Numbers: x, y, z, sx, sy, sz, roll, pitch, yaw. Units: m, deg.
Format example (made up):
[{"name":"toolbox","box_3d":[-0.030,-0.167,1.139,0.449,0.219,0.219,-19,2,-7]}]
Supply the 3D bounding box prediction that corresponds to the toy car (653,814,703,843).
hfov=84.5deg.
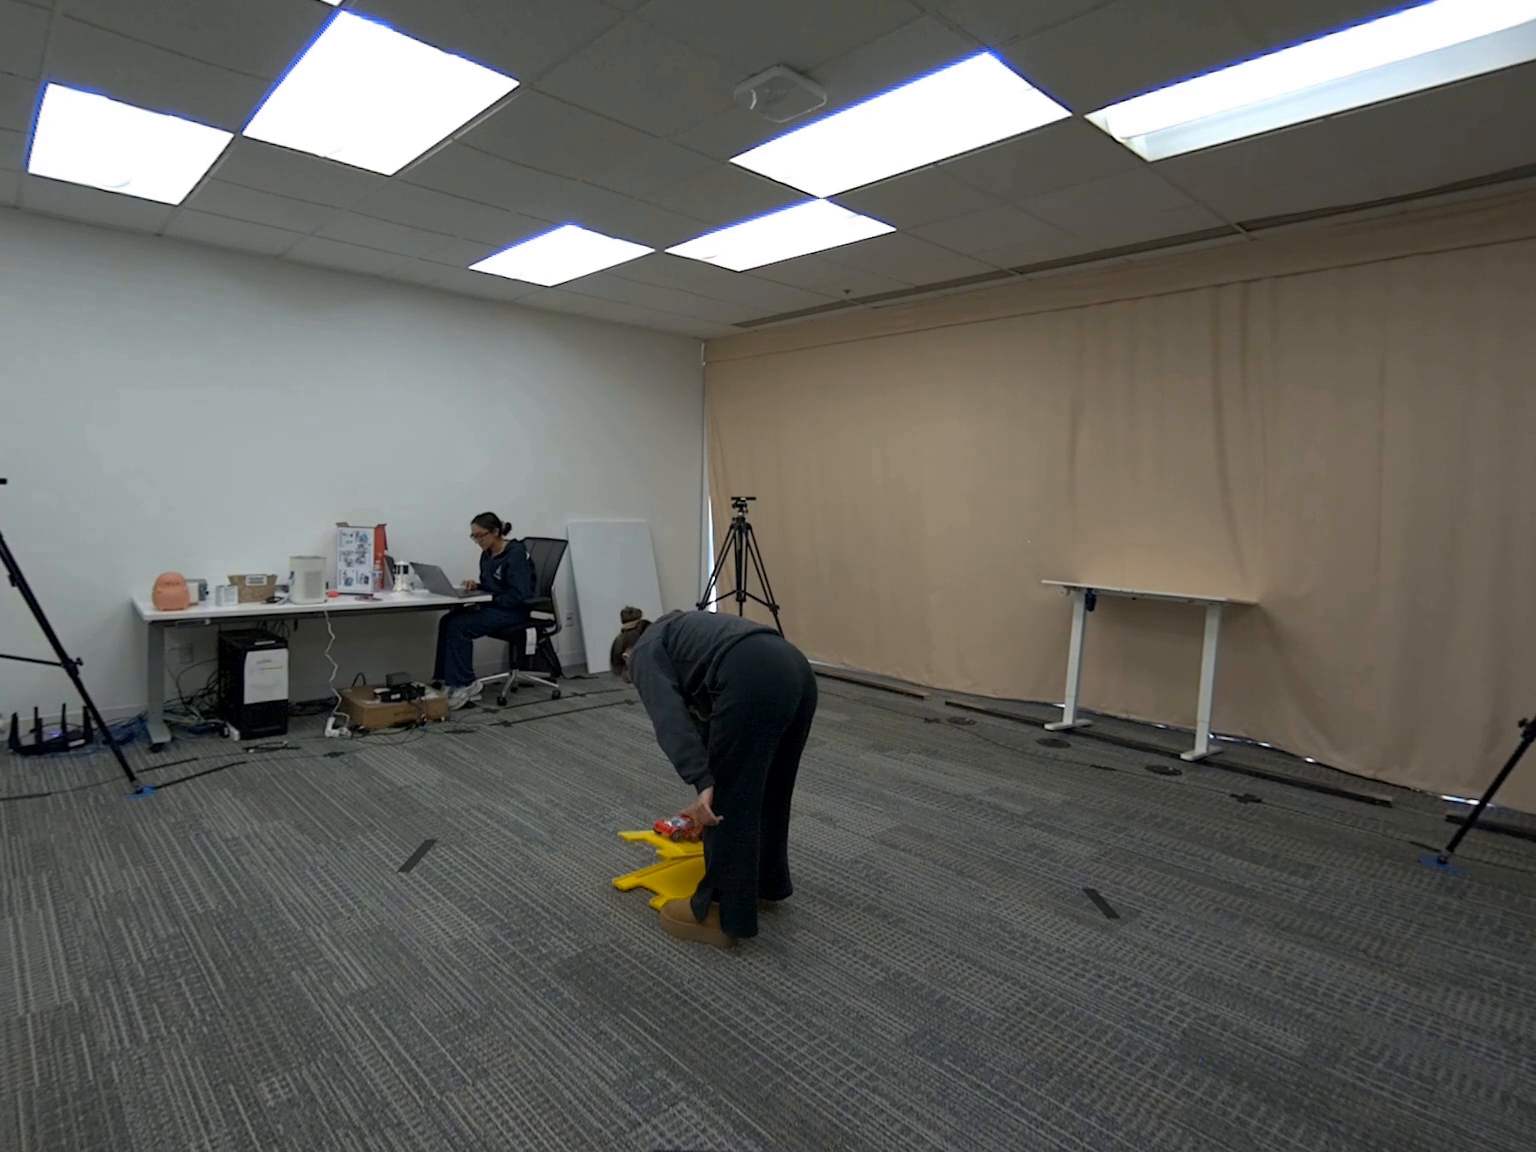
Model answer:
[{"name":"toy car","box_3d":[-0.307,0.932,3.100,0.134,0.083,0.248,8,4,44]}]
